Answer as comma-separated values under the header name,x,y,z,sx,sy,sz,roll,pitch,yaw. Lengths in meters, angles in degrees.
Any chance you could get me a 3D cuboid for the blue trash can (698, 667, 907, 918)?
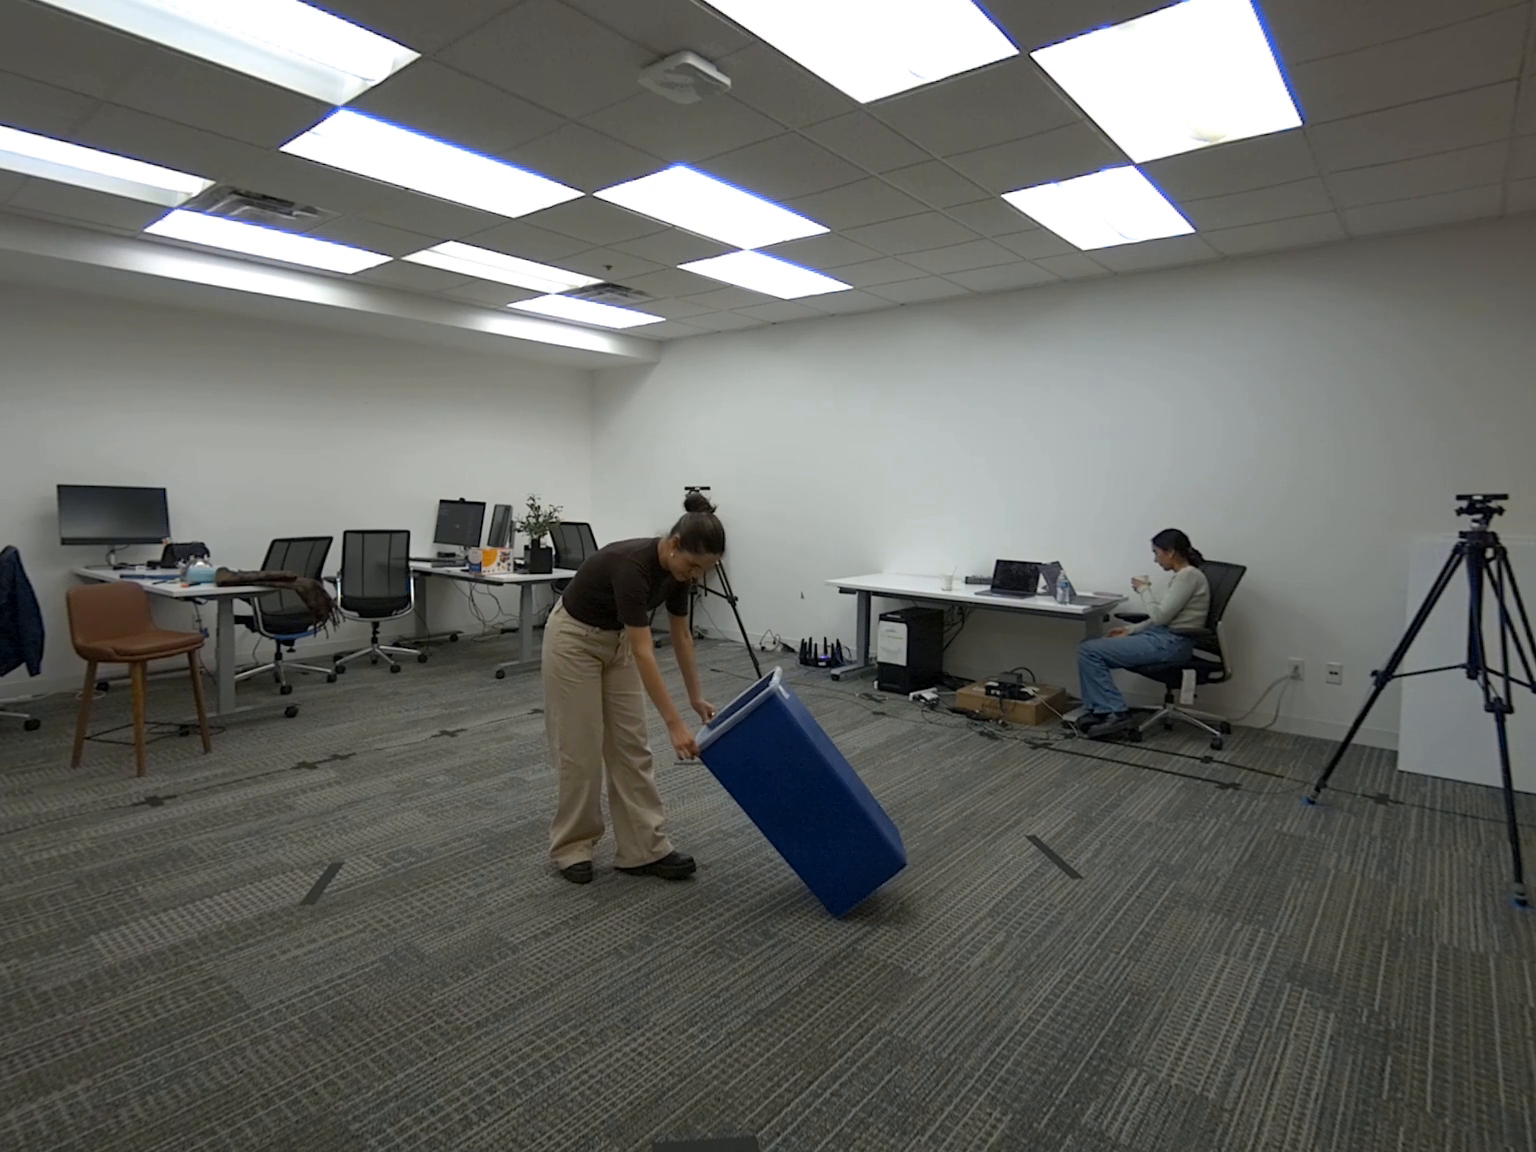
name,x,y,z,sx,sy,sz,roll,pitch,yaw
blue trash can,0.100,0.726,2.879,0.374,0.717,0.376,-38,-3,6
